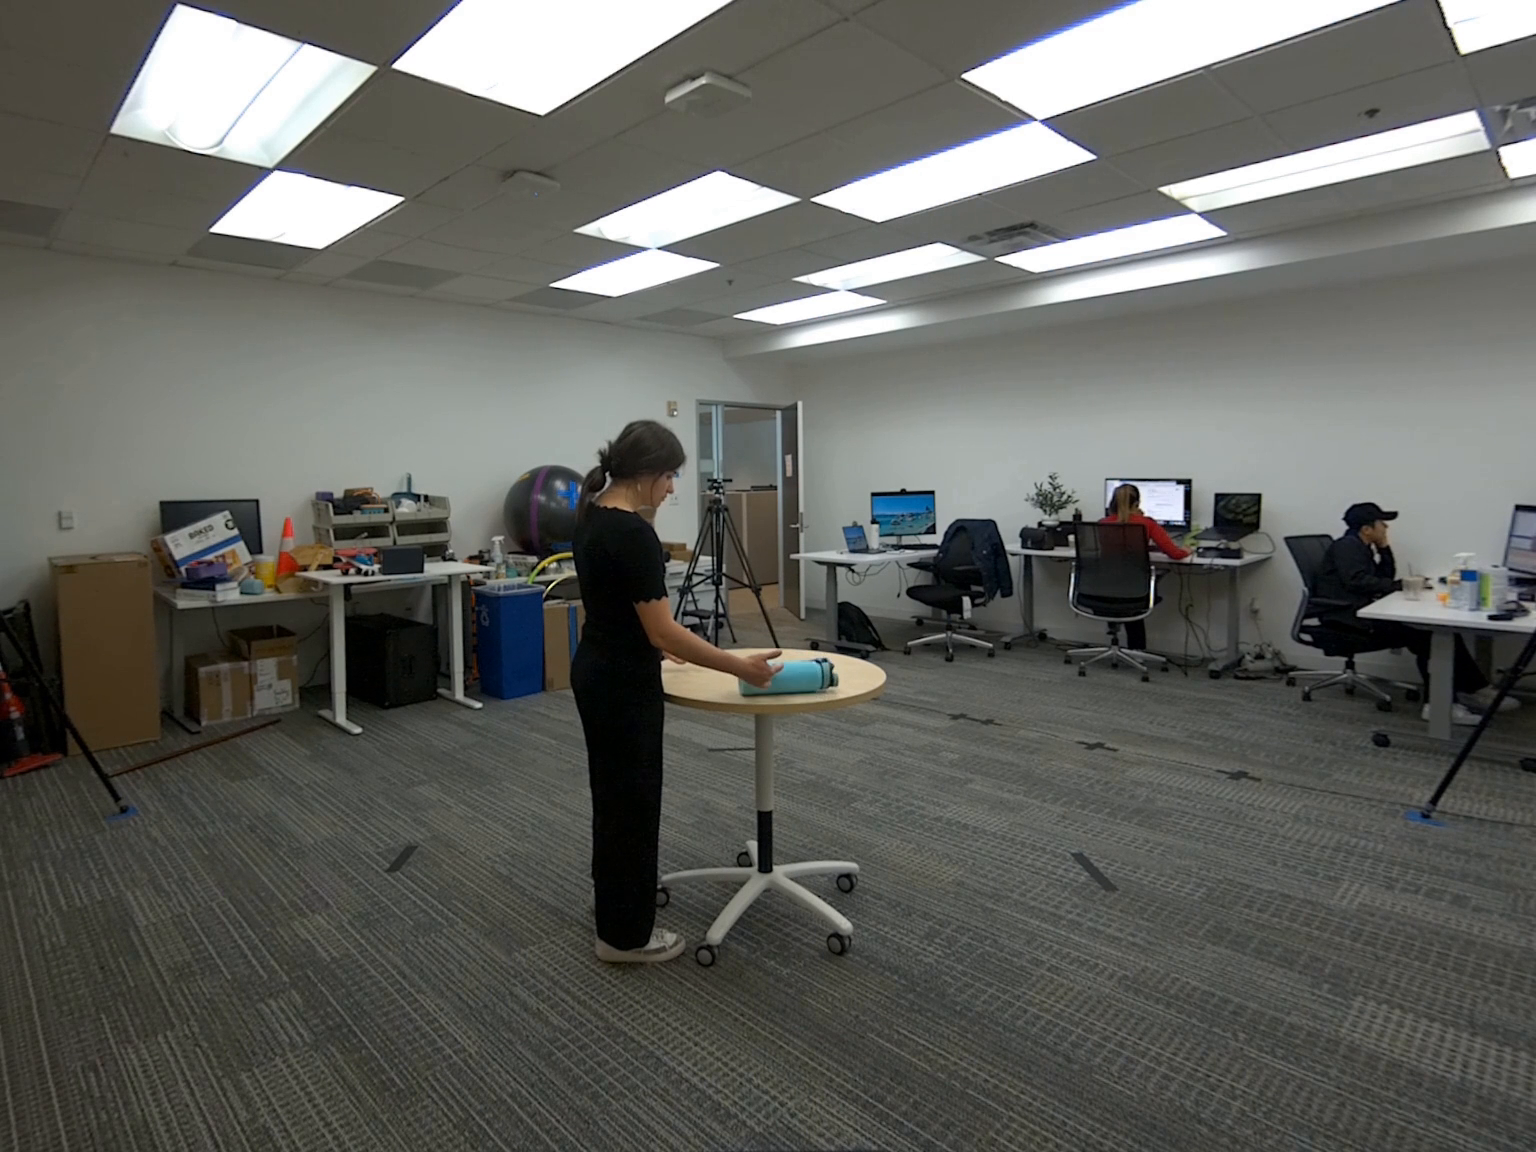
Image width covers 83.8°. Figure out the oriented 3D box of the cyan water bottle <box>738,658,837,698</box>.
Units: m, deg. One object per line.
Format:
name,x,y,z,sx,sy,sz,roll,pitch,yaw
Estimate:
cyan water bottle,0.064,0.288,2.451,0.281,0.092,0.093,-4,5,-8
